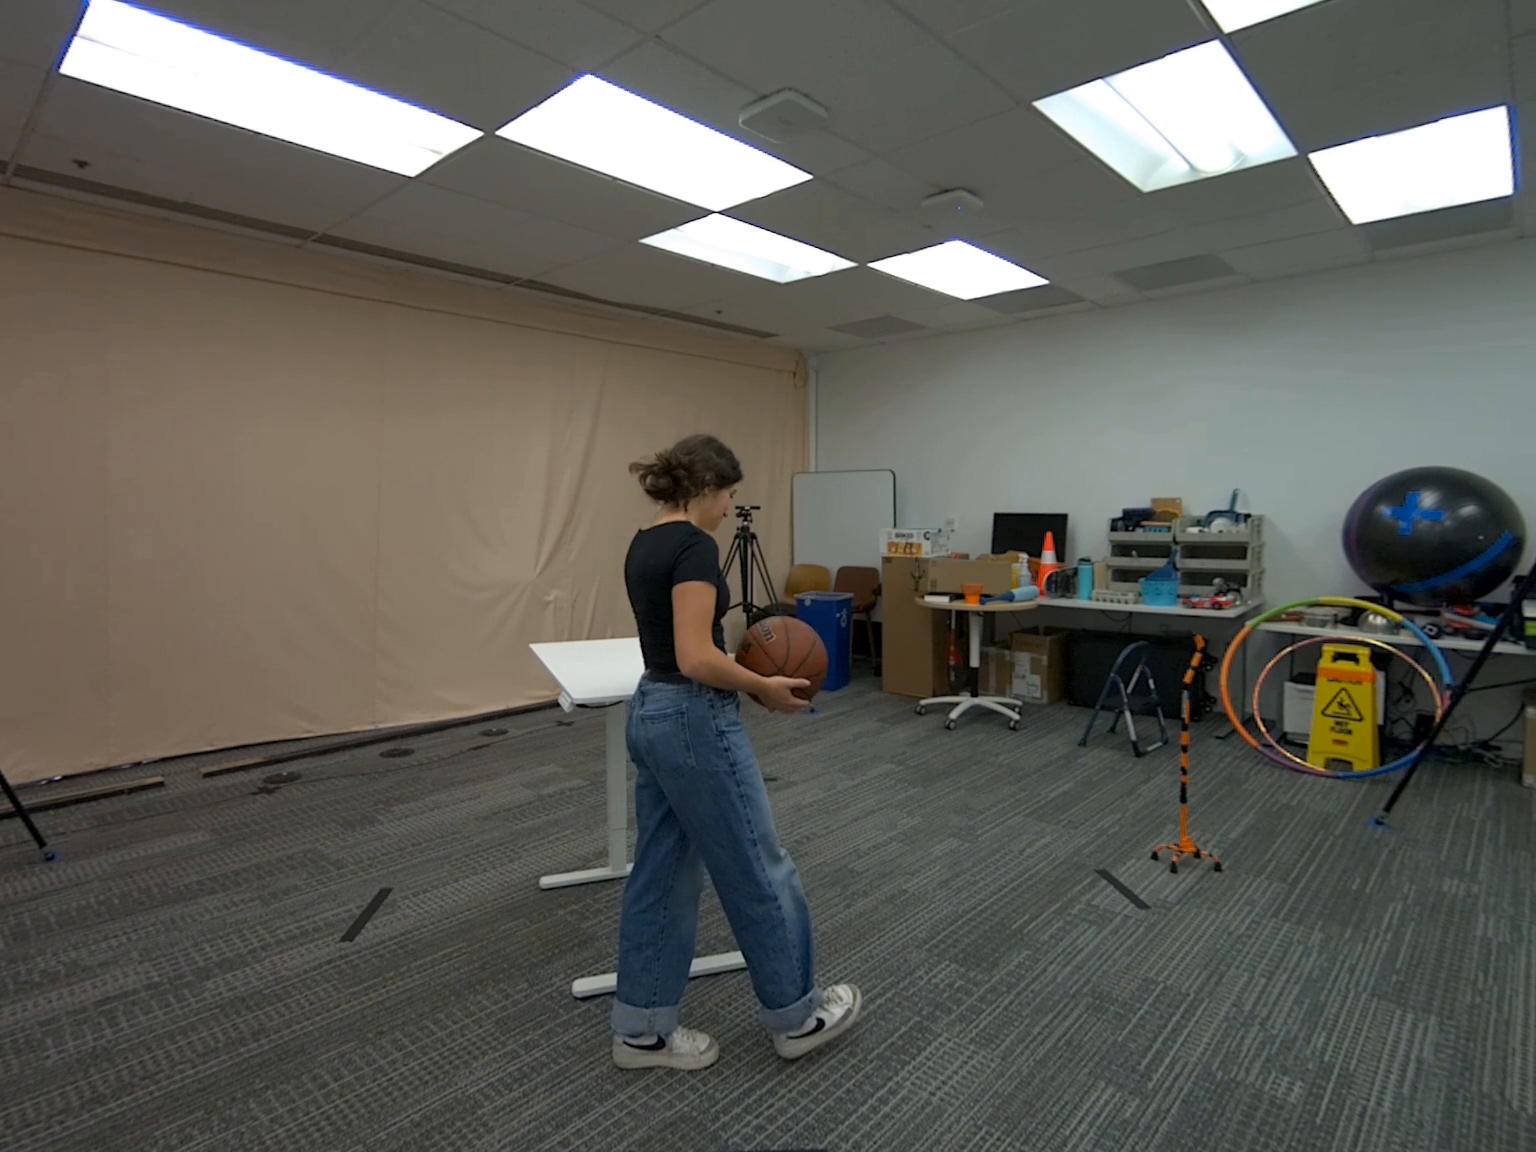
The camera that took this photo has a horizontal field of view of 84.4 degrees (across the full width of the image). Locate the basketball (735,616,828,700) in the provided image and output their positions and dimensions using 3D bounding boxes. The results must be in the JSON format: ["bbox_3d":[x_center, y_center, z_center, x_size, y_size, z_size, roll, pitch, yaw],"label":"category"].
[{"bbox_3d":[0.041,0.221,2.149,0.236,0.235,0.237,0,4,-2],"label":"basketball"}]
